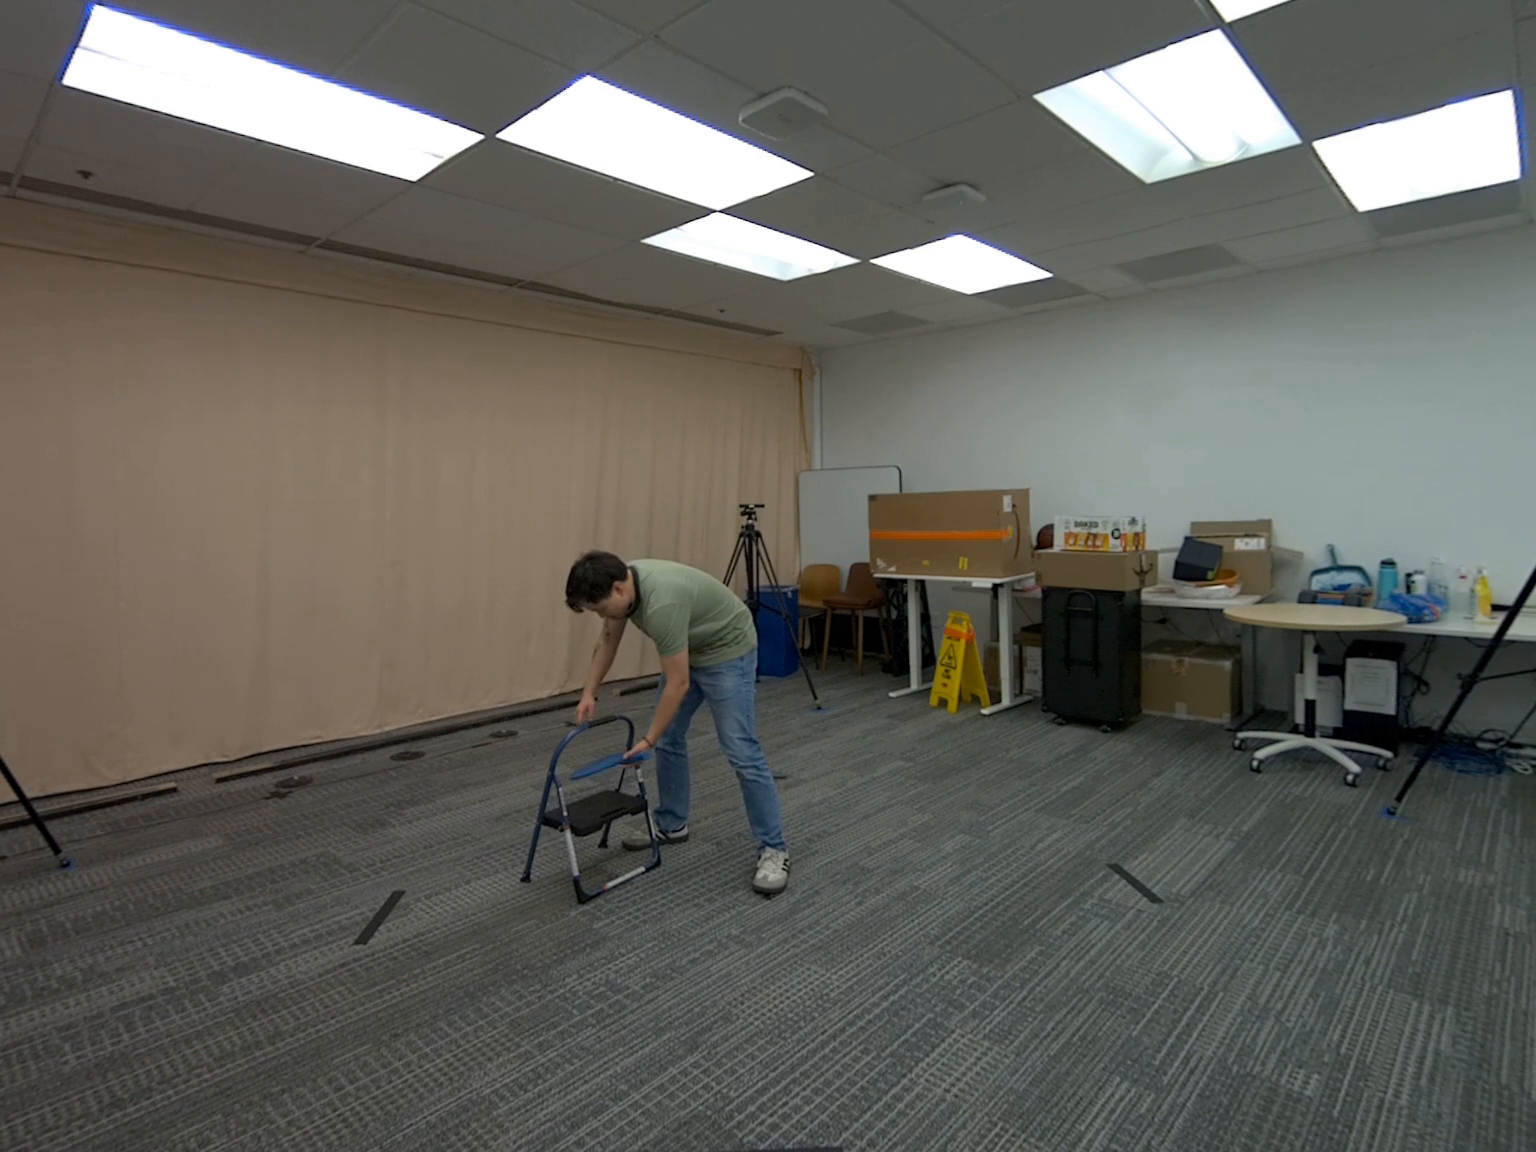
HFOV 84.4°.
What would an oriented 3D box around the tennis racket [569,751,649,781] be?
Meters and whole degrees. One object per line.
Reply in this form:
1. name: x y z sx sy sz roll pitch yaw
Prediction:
1. tennis racket: -0.594 0.709 3.159 0.441 0.032 0.208 -25 -3 39
